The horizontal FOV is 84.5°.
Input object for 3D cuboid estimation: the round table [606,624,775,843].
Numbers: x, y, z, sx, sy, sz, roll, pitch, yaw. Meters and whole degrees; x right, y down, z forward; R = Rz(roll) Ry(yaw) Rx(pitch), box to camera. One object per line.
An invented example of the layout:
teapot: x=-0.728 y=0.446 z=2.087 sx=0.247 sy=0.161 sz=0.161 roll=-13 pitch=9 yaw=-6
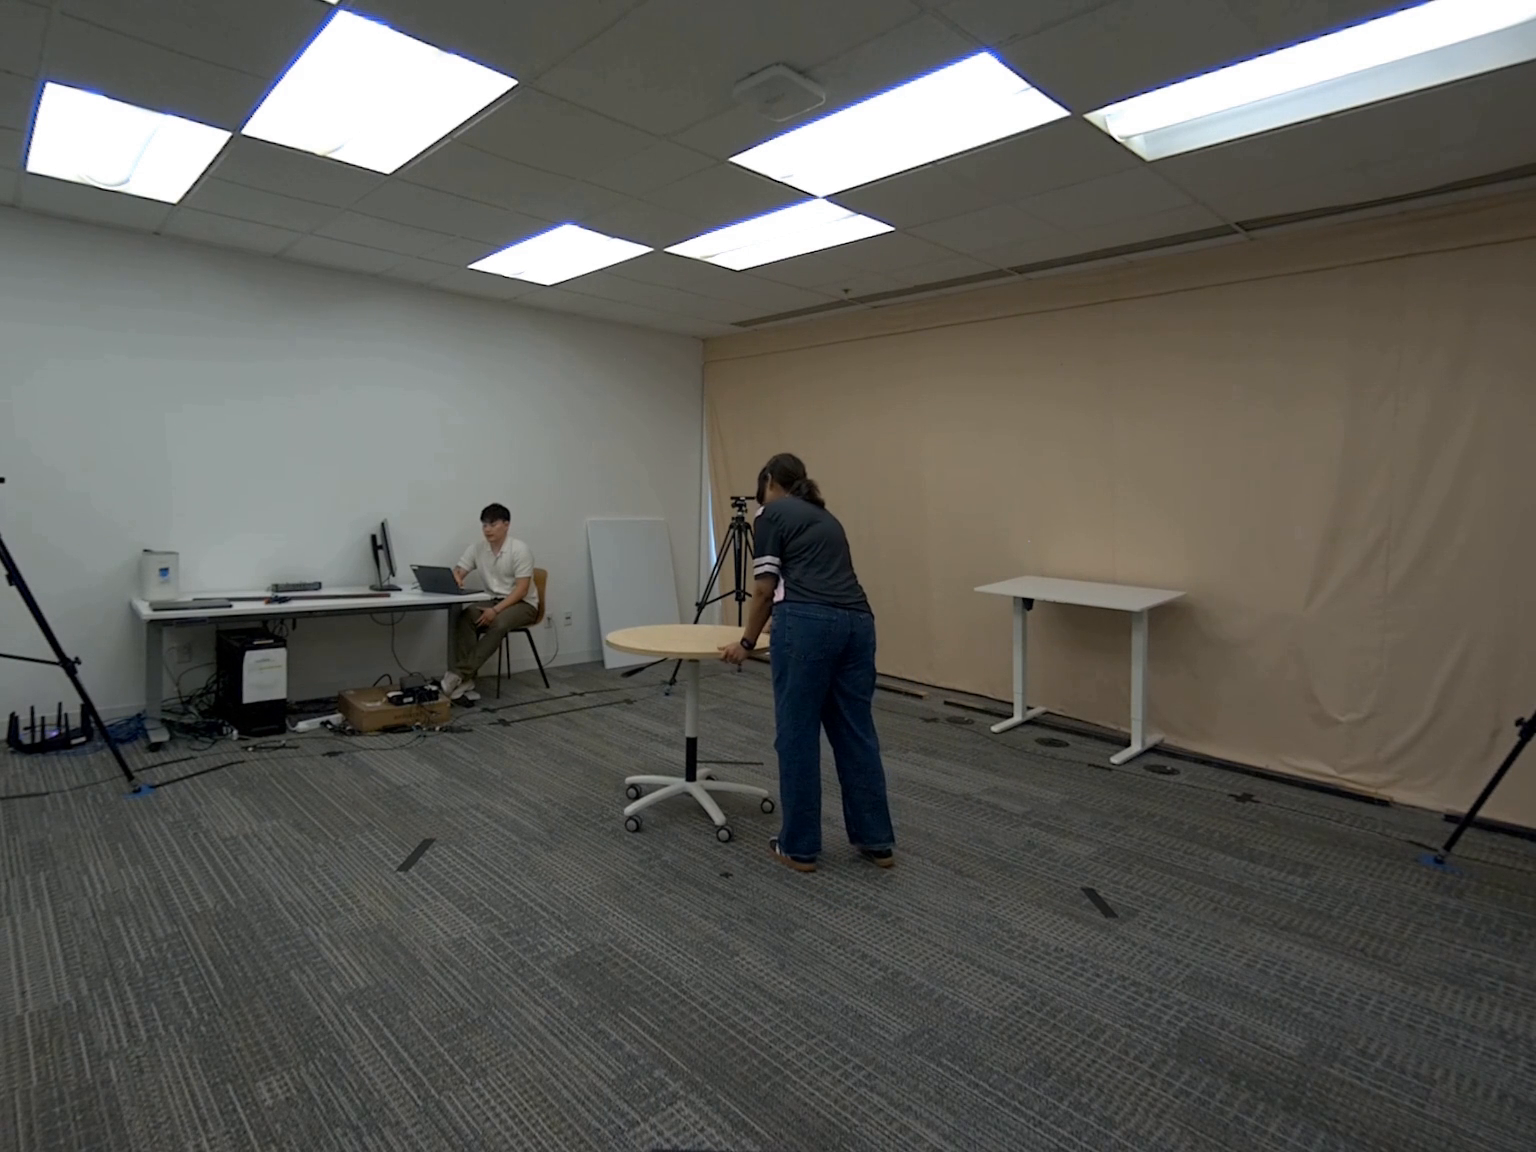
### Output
round table: x=-0.327 y=0.654 z=3.707 sx=0.784 sy=0.785 sz=0.787 roll=1 pitch=3 yaw=-1
